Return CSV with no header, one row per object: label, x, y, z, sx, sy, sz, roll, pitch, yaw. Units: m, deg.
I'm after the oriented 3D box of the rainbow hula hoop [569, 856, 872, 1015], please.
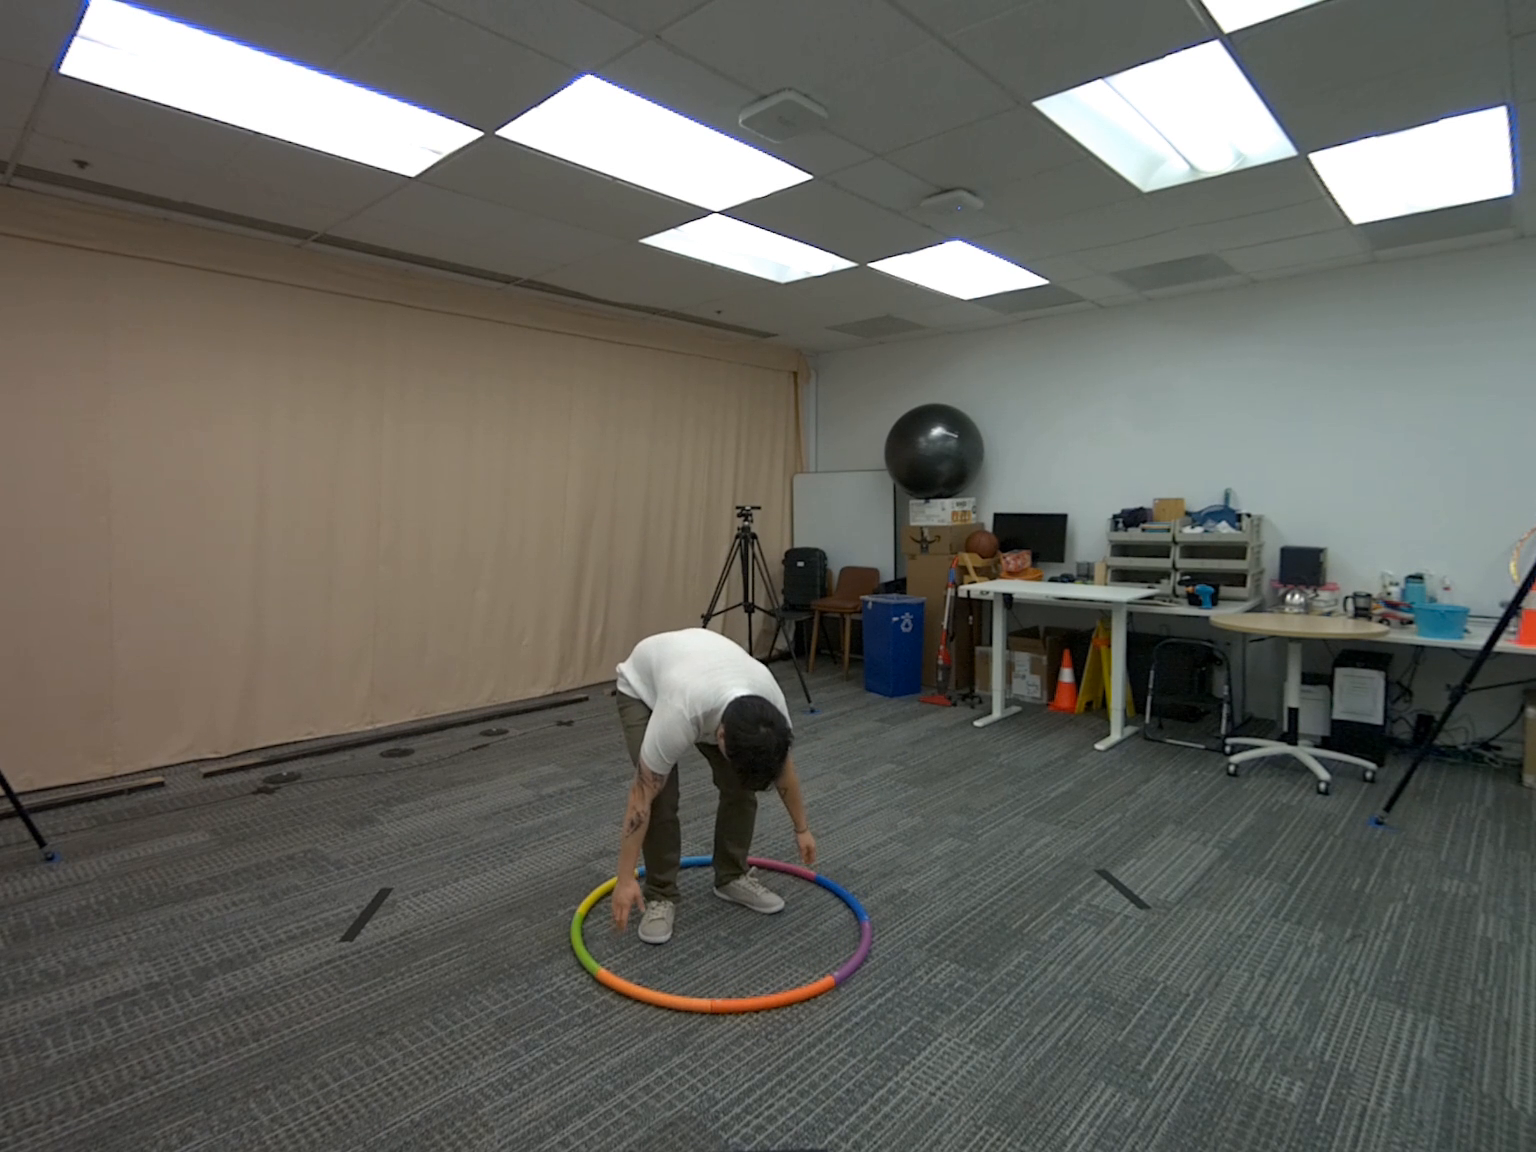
rainbow hula hoop,-0.150,1.125,2.792,0.978,0.035,0.982,0,5,-2
